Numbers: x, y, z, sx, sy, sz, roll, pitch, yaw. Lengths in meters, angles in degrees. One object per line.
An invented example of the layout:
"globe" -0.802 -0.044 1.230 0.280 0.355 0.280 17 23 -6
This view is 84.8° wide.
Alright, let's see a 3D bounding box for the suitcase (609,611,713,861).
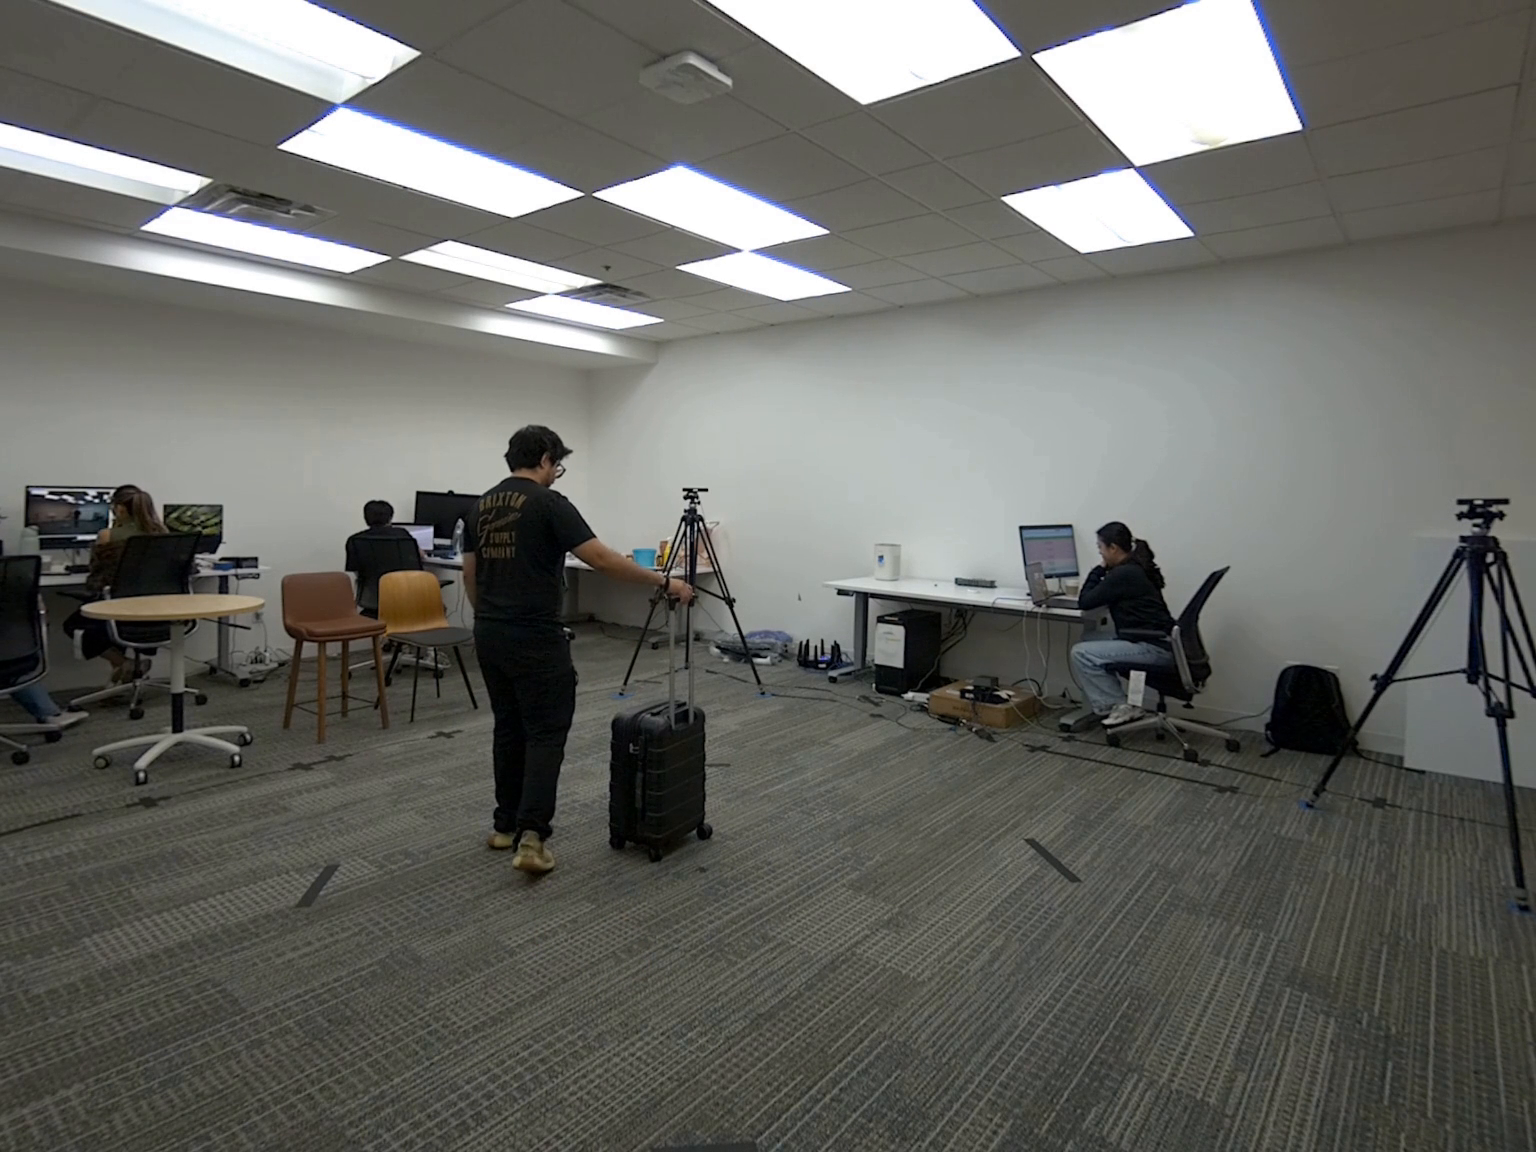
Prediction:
"suitcase" -0.439 0.572 3.316 0.265 0.977 0.373 1 3 33
